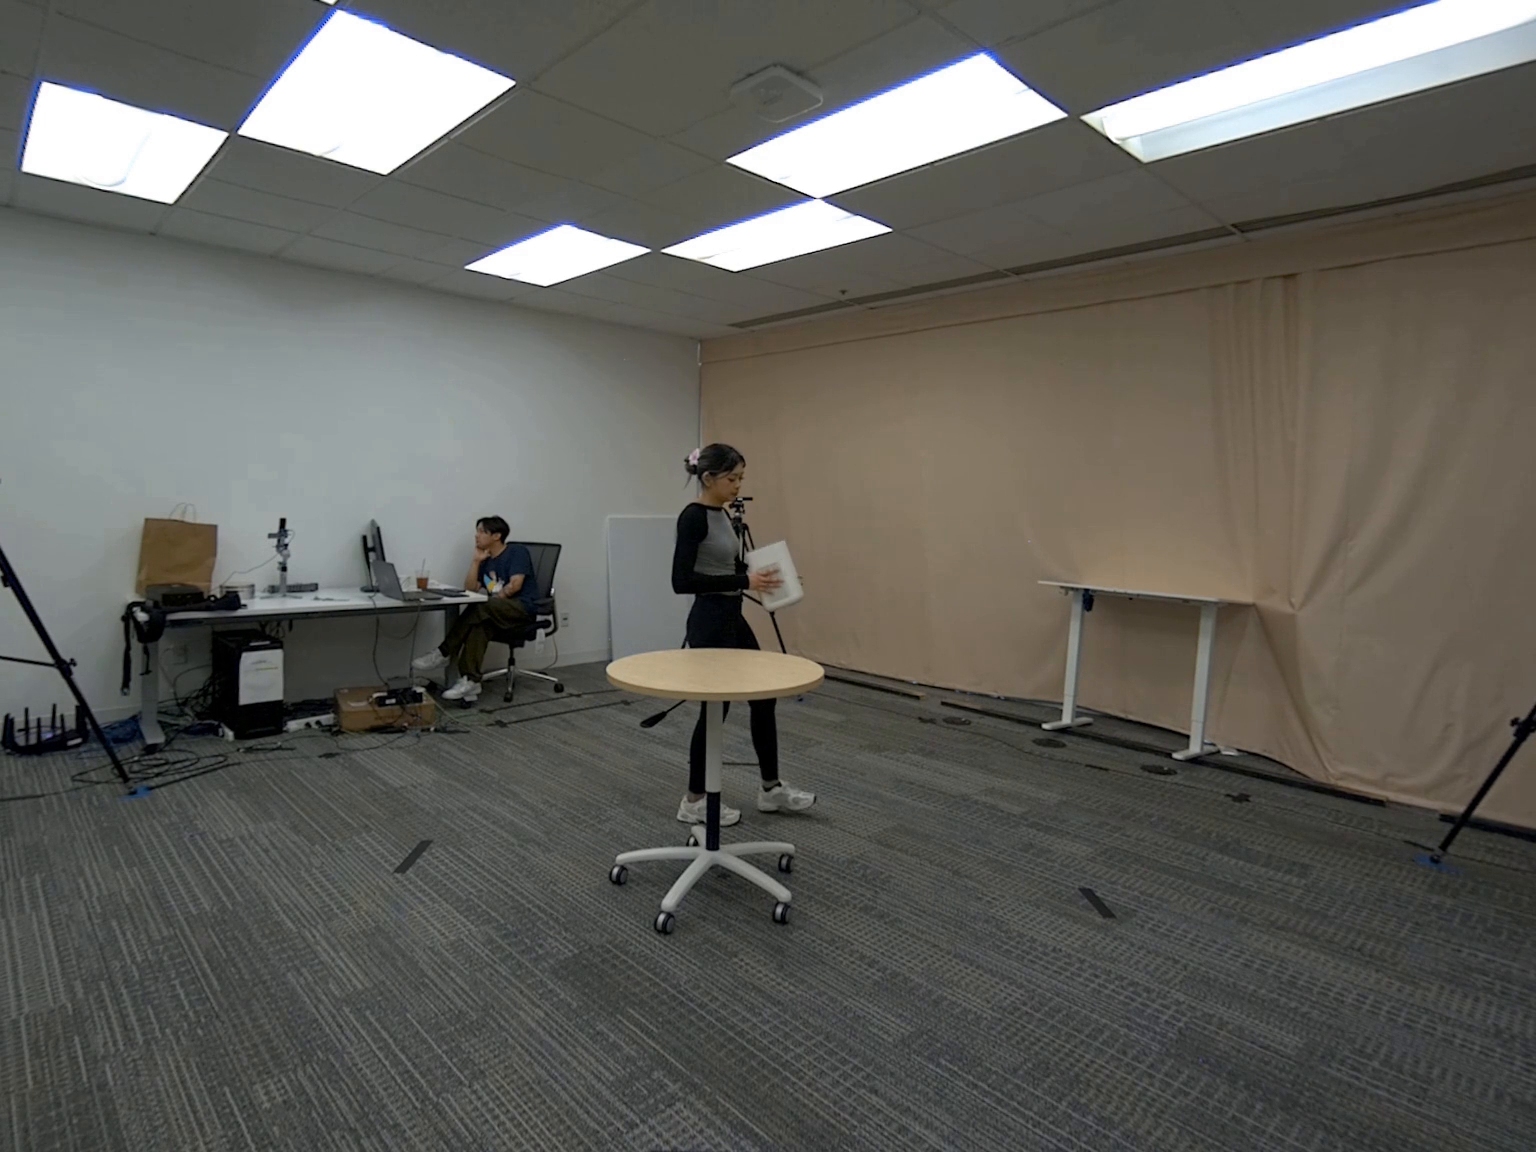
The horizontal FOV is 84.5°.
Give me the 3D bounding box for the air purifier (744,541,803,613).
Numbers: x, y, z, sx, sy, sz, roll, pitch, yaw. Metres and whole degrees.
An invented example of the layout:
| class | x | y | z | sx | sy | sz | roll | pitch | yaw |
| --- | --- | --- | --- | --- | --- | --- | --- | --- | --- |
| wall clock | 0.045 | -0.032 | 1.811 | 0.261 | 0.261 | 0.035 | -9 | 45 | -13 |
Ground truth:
| class | x | y | z | sx | sy | sz | roll | pitch | yaw |
| --- | --- | --- | --- | --- | --- | --- | --- | --- | --- |
| air purifier | 0.023 | 0.000 | 3.502 | 0.172 | 0.266 | 0.170 | -20 | -3 | 8 |
